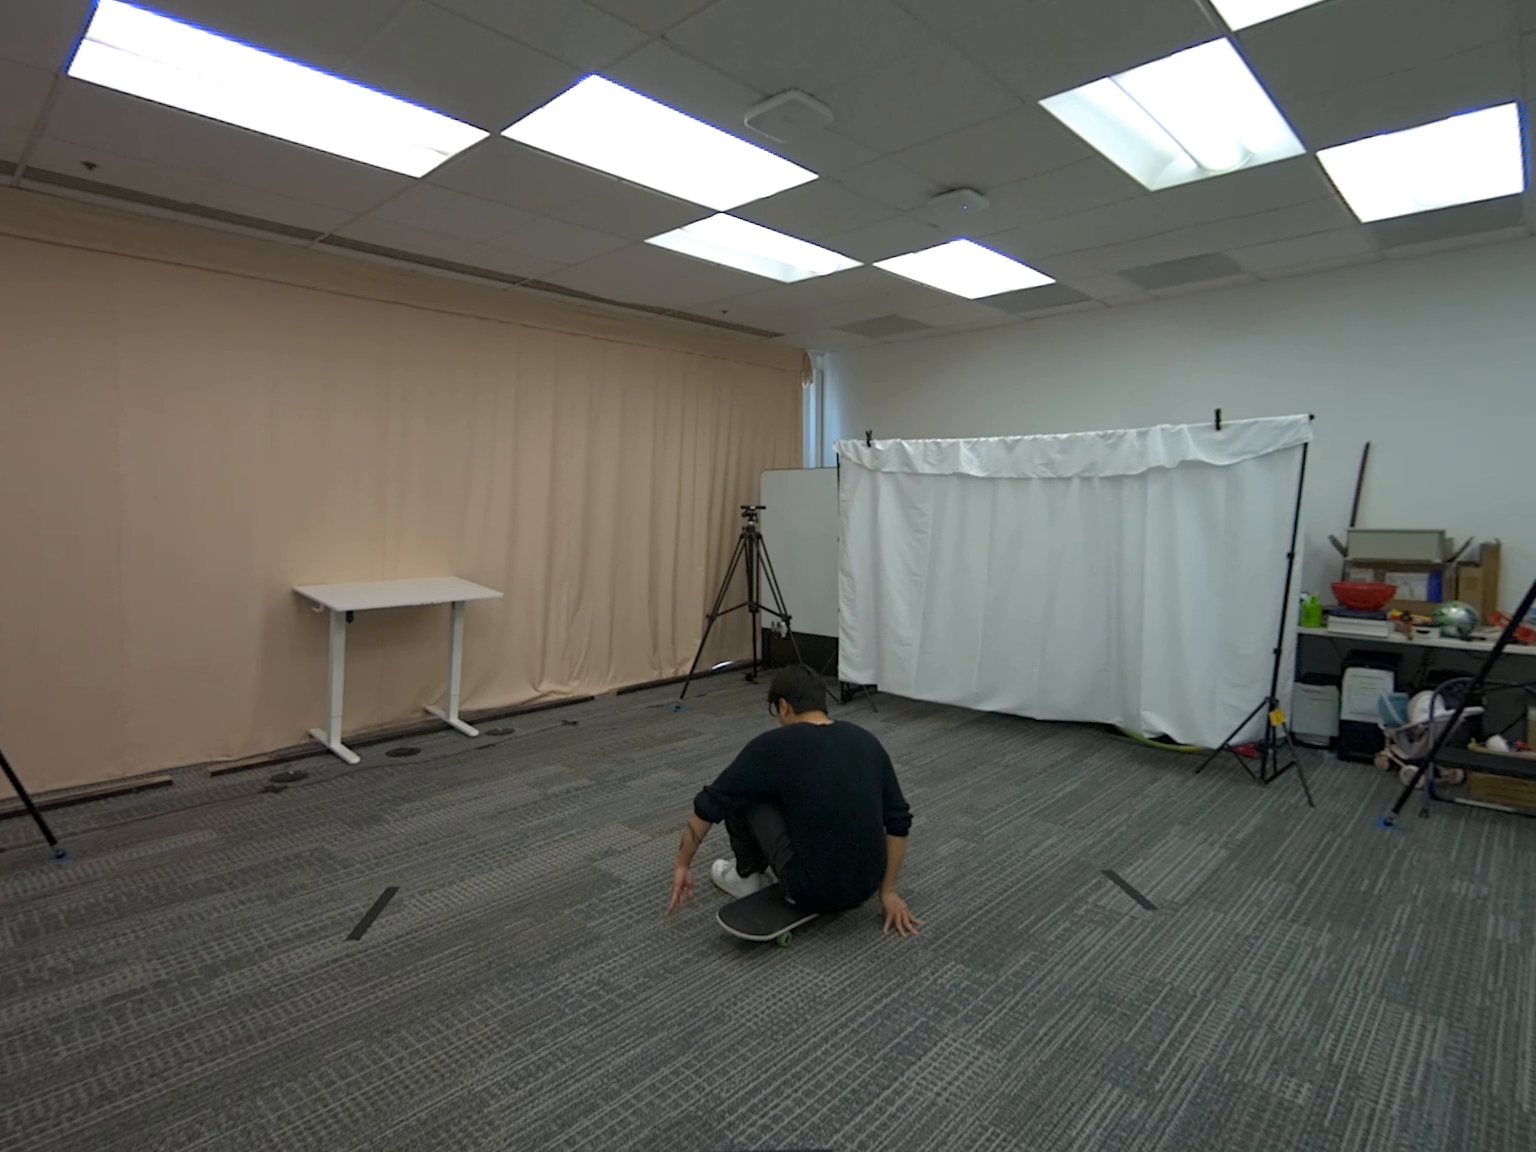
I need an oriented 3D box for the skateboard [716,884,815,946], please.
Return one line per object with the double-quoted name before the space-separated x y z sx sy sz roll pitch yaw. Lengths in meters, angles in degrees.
"skateboard" 0.134 1.114 2.843 0.761 0.110 0.200 -4 16 -41
